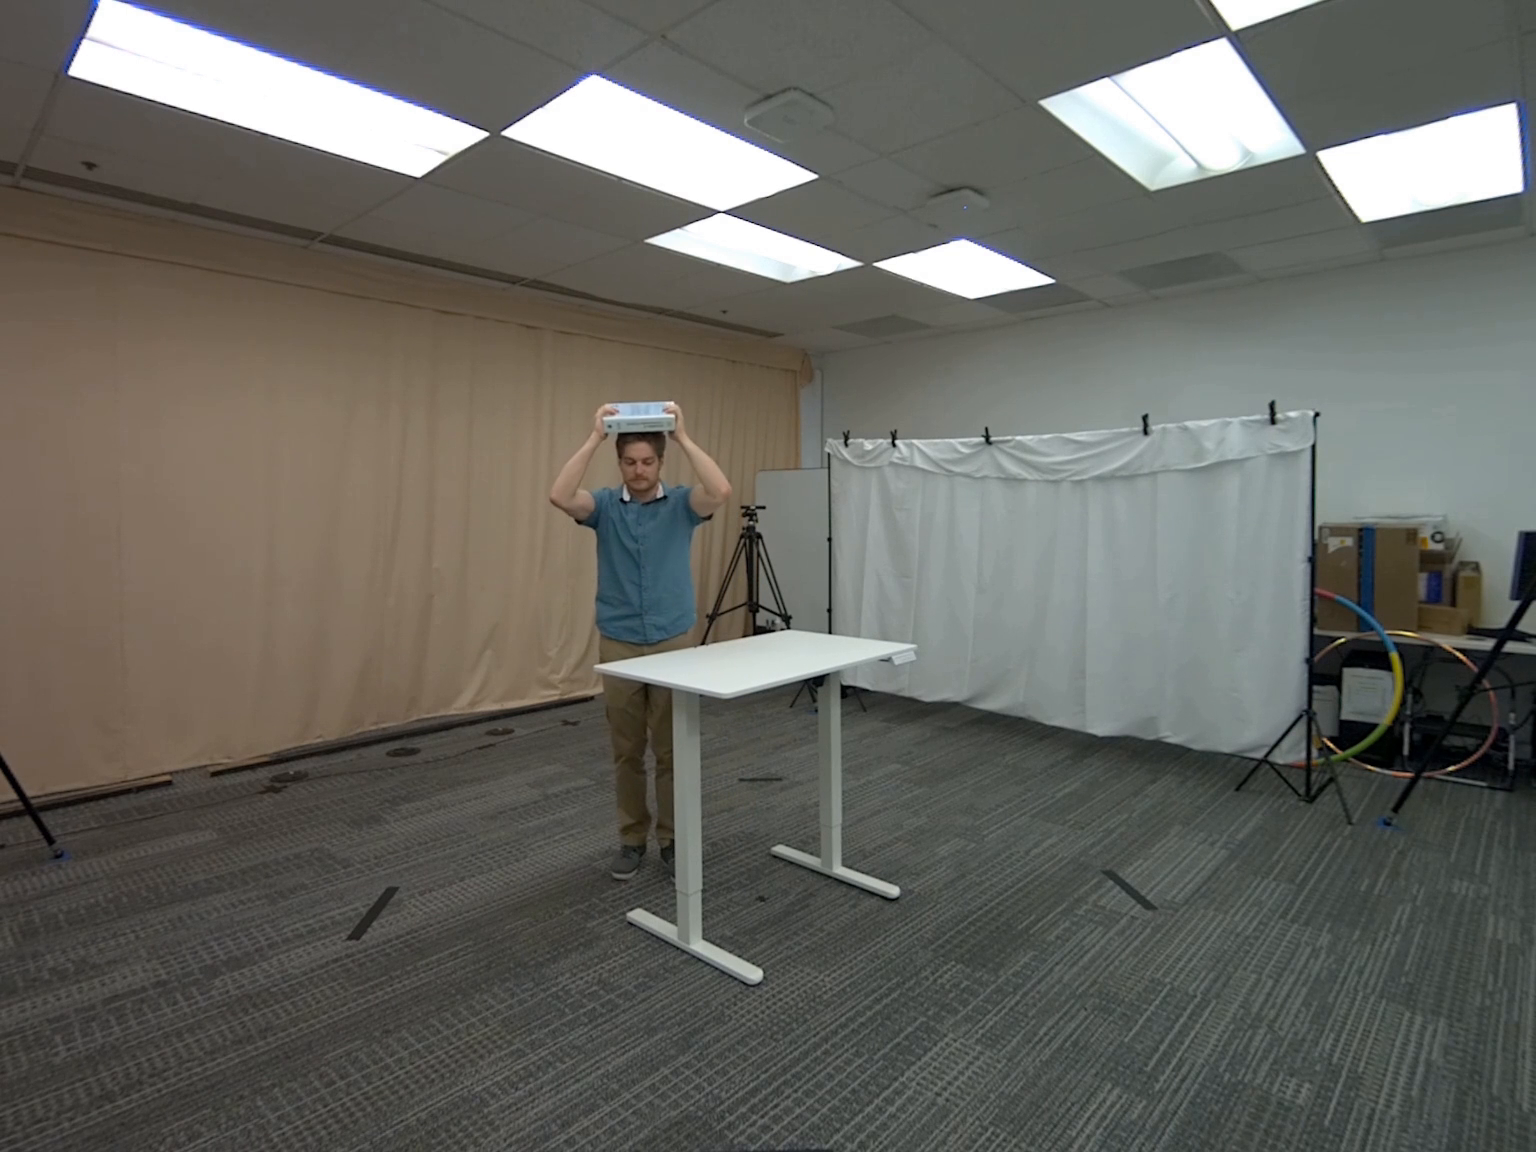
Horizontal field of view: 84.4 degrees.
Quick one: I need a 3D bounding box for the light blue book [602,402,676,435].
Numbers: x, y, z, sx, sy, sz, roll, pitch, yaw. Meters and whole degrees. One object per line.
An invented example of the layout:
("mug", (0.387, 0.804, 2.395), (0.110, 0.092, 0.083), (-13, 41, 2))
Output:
("light blue book", (-0.467, -0.587, 3.111), (0.260, 0.058, 0.195), (-3, 30, -3))
